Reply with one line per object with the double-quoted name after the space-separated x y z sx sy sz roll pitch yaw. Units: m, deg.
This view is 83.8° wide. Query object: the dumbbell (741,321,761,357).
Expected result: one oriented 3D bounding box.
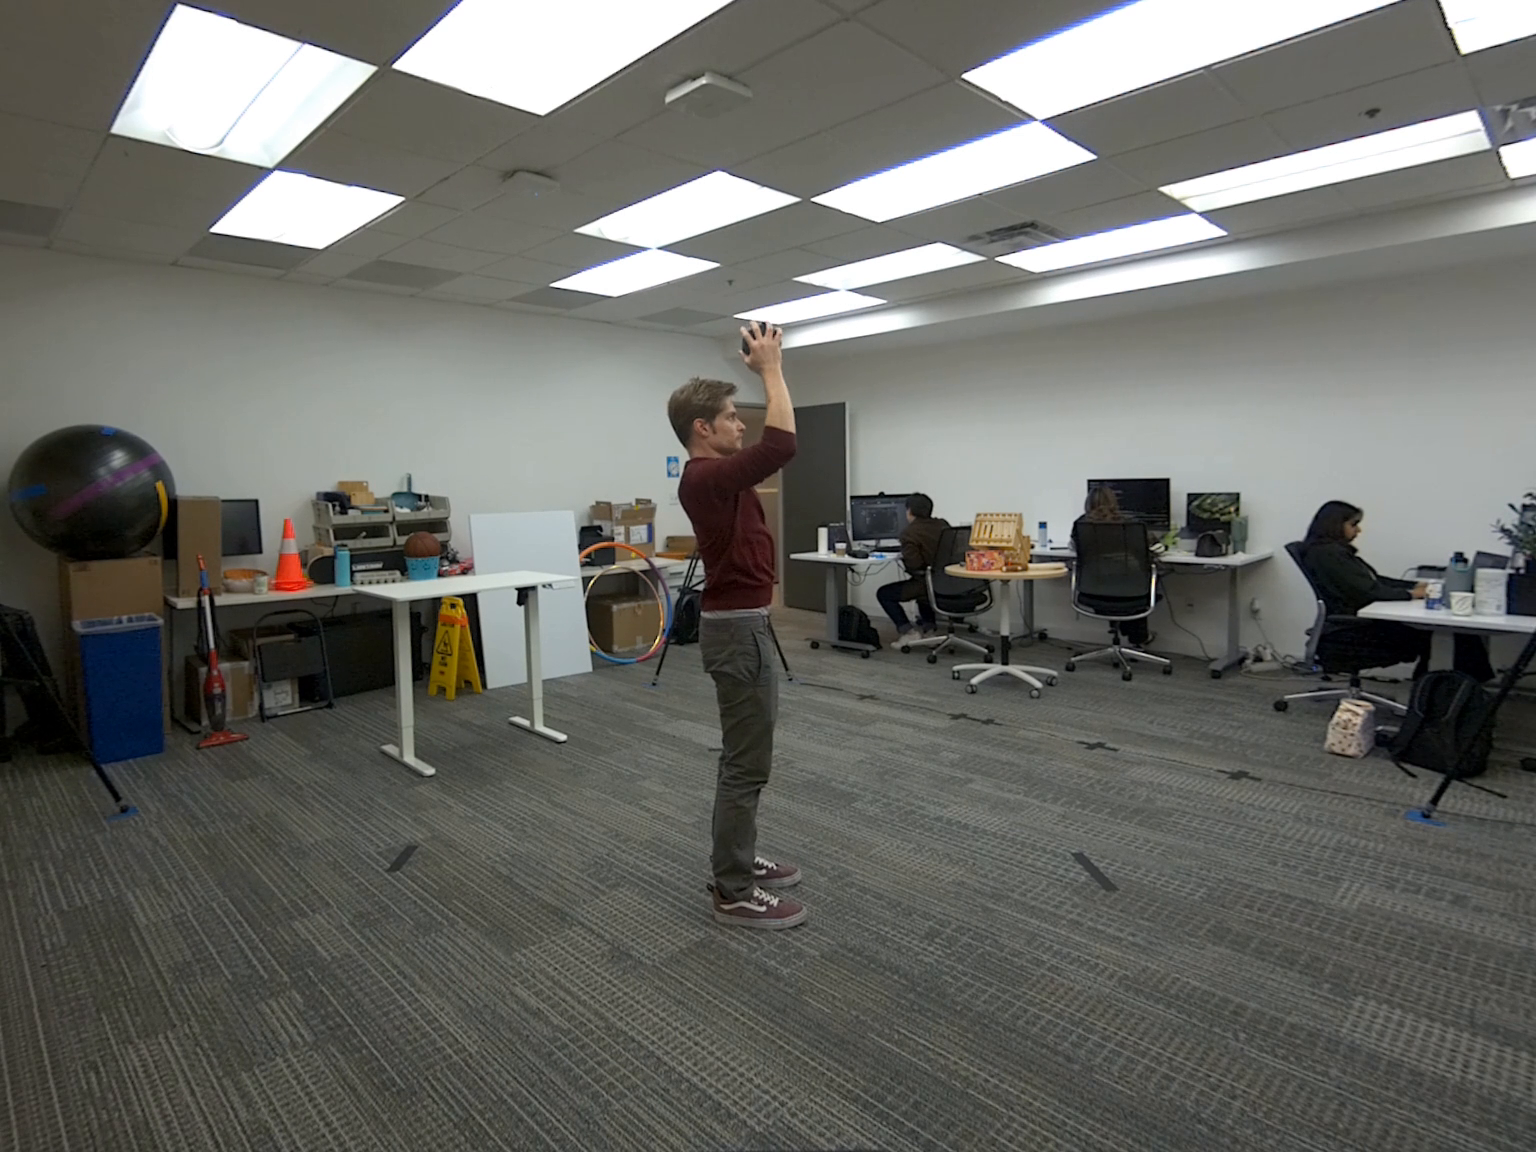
-0.016 -0.733 2.704 0.122 0.108 0.295 36 9 -5 "dumbbell"
